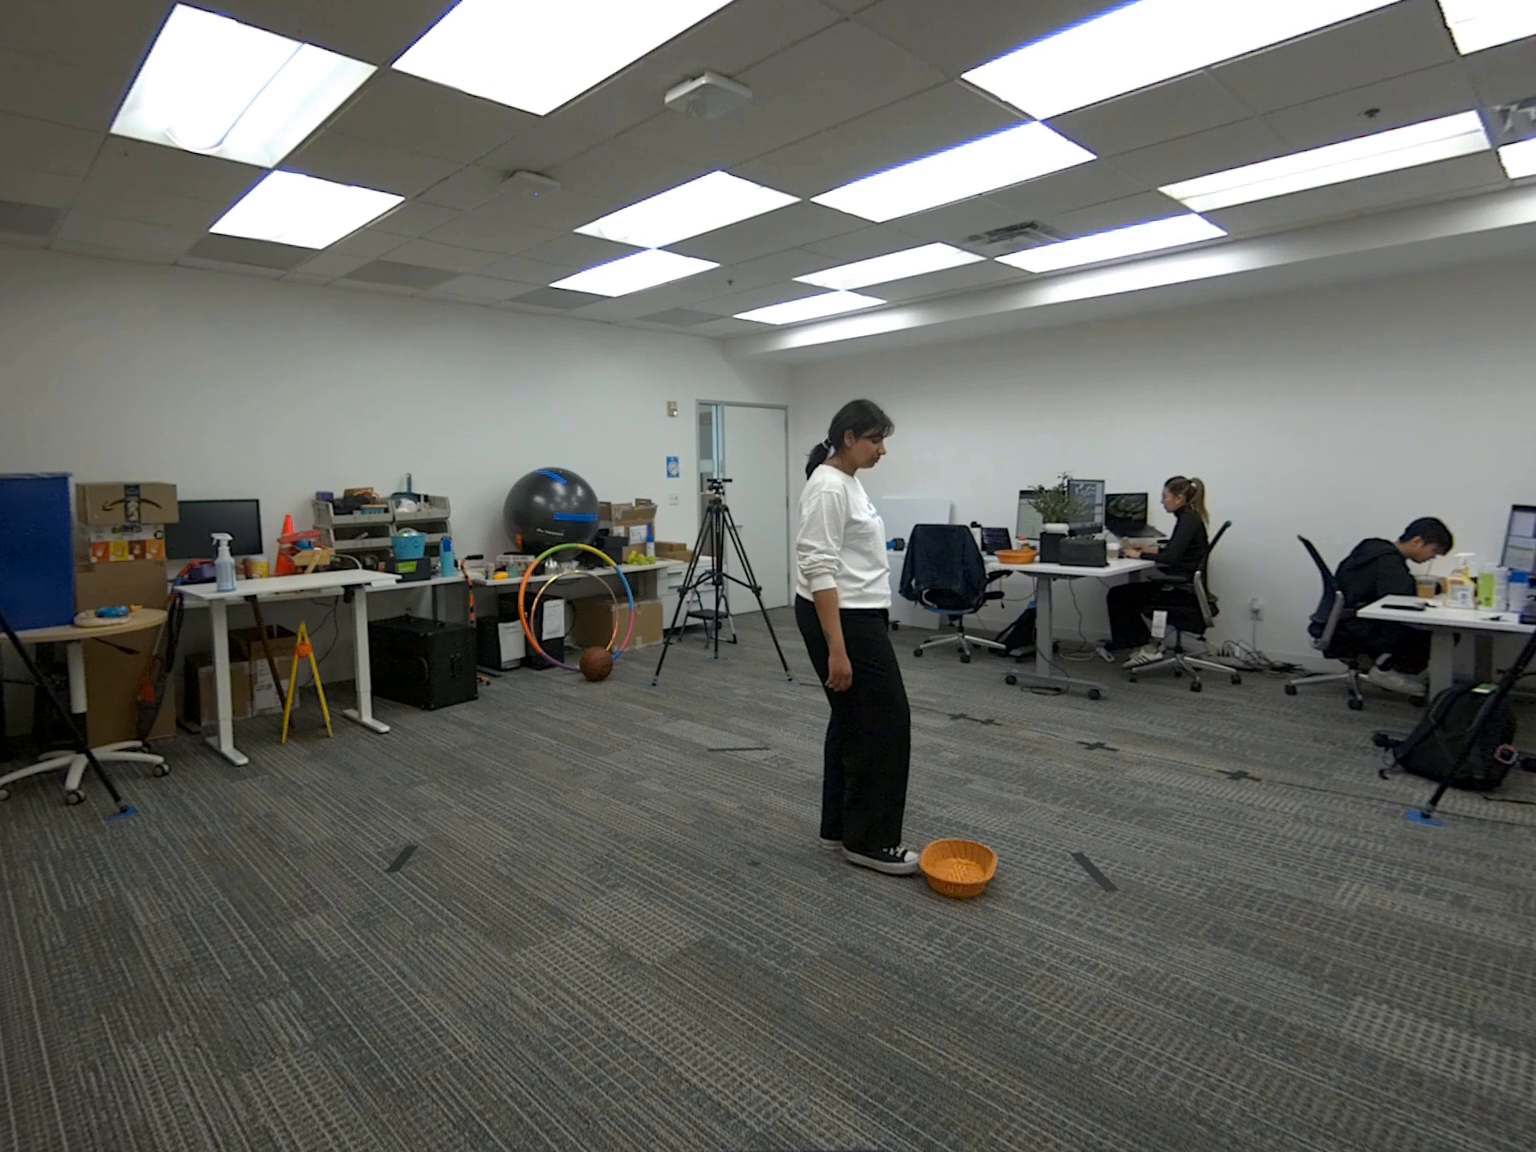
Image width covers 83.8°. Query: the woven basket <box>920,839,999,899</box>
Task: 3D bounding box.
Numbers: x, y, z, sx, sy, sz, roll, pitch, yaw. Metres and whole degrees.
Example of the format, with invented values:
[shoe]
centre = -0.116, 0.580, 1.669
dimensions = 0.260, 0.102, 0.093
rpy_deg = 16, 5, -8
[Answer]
[woven basket]
centre = 0.658, 1.008, 2.956
dimensions = 0.258, 0.073, 0.344
rpy_deg = 4, 8, 25
